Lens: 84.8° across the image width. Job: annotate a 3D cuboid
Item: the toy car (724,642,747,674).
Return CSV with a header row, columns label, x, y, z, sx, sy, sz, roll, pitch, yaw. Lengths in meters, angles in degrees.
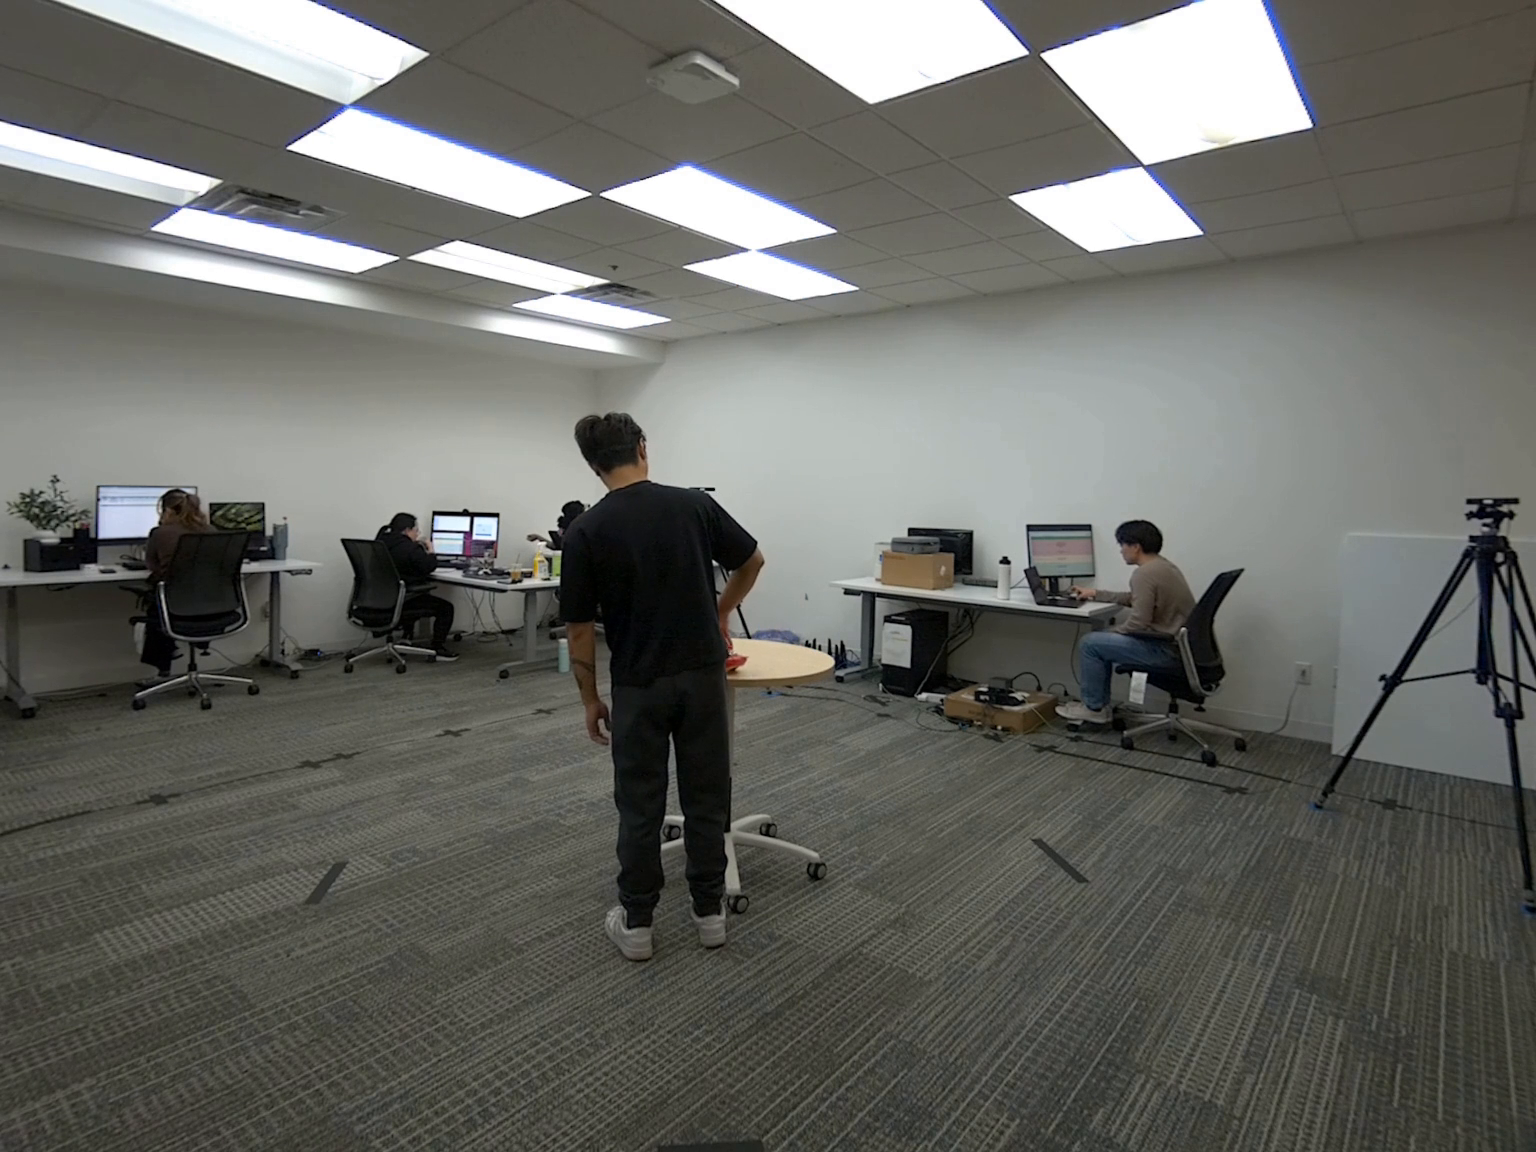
label,x,y,z,sx,sy,sz,roll,pitch,yaw
toy car,-0.191,0.278,2.838,0.261,0.083,0.126,-9,-4,39
